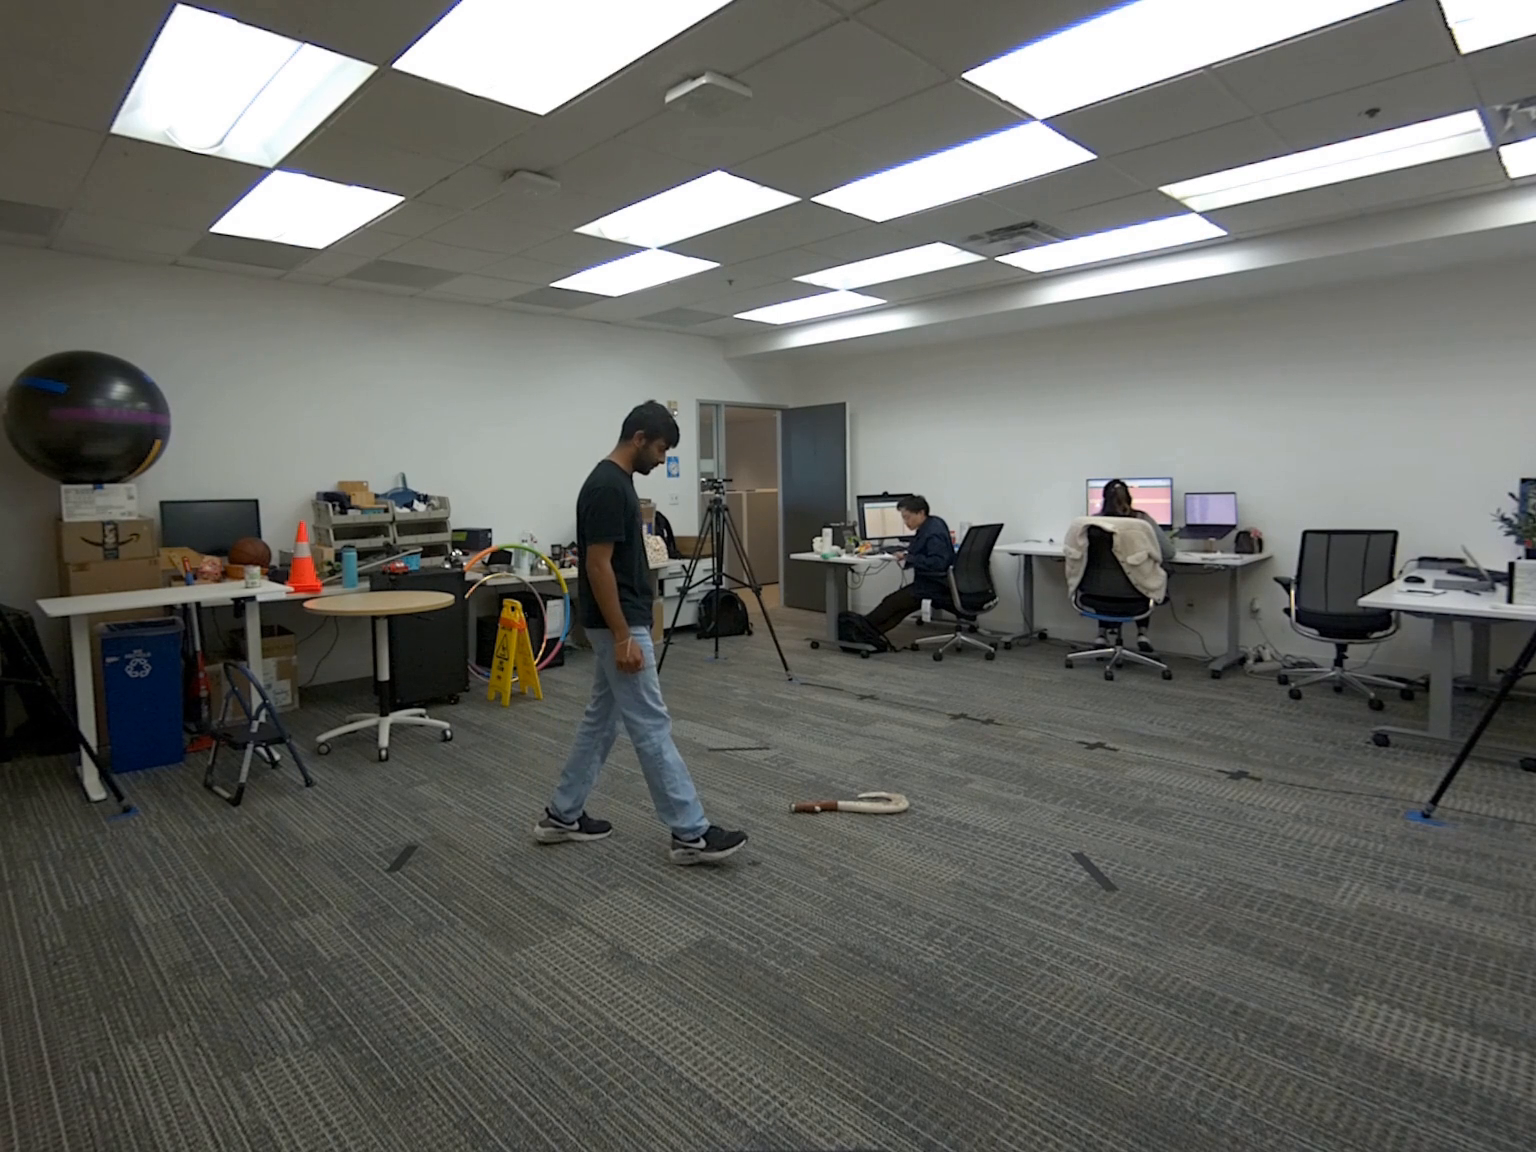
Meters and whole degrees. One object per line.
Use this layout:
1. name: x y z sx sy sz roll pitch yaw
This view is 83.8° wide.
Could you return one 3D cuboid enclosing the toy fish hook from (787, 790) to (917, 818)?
1. toy fish hook: 0.345 0.963 3.632 0.506 0.048 0.224 -1 -2 -2
